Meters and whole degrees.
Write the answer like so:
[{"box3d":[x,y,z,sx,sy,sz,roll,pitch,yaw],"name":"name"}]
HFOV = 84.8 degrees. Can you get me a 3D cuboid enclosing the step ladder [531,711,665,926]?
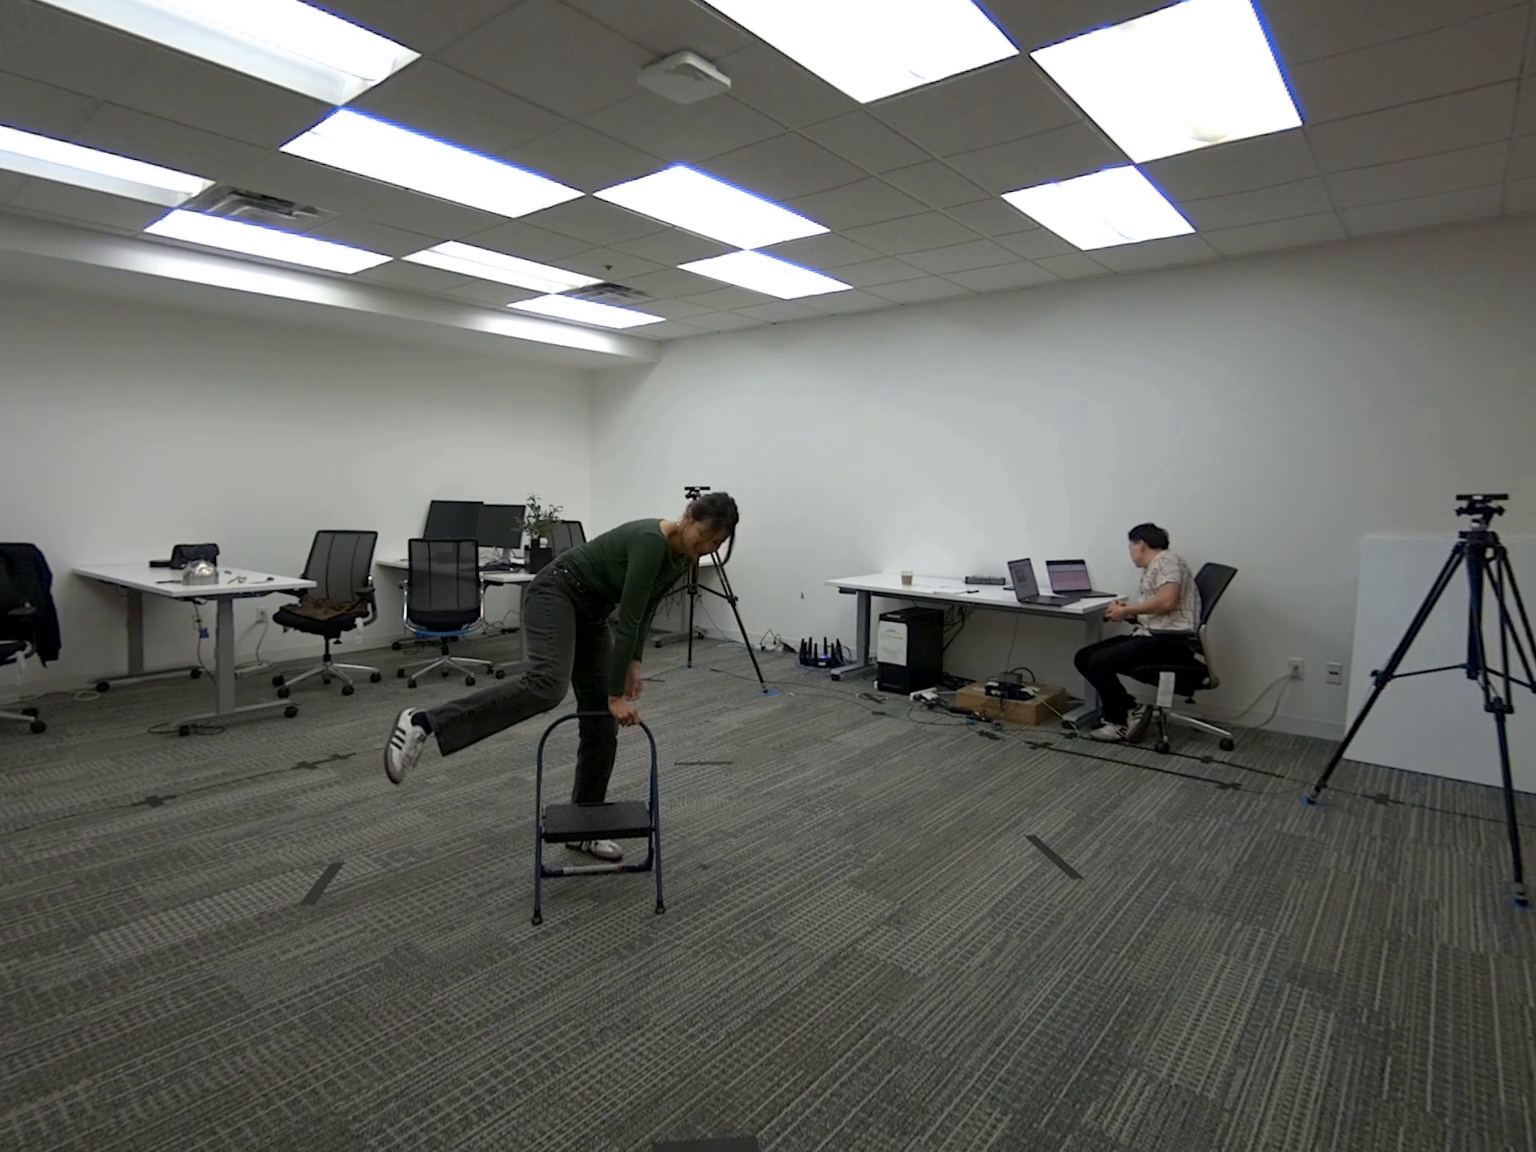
[{"box3d":[-0.586,0.781,2.891,0.425,0.604,0.355,0,3,-12],"name":"step ladder"}]
